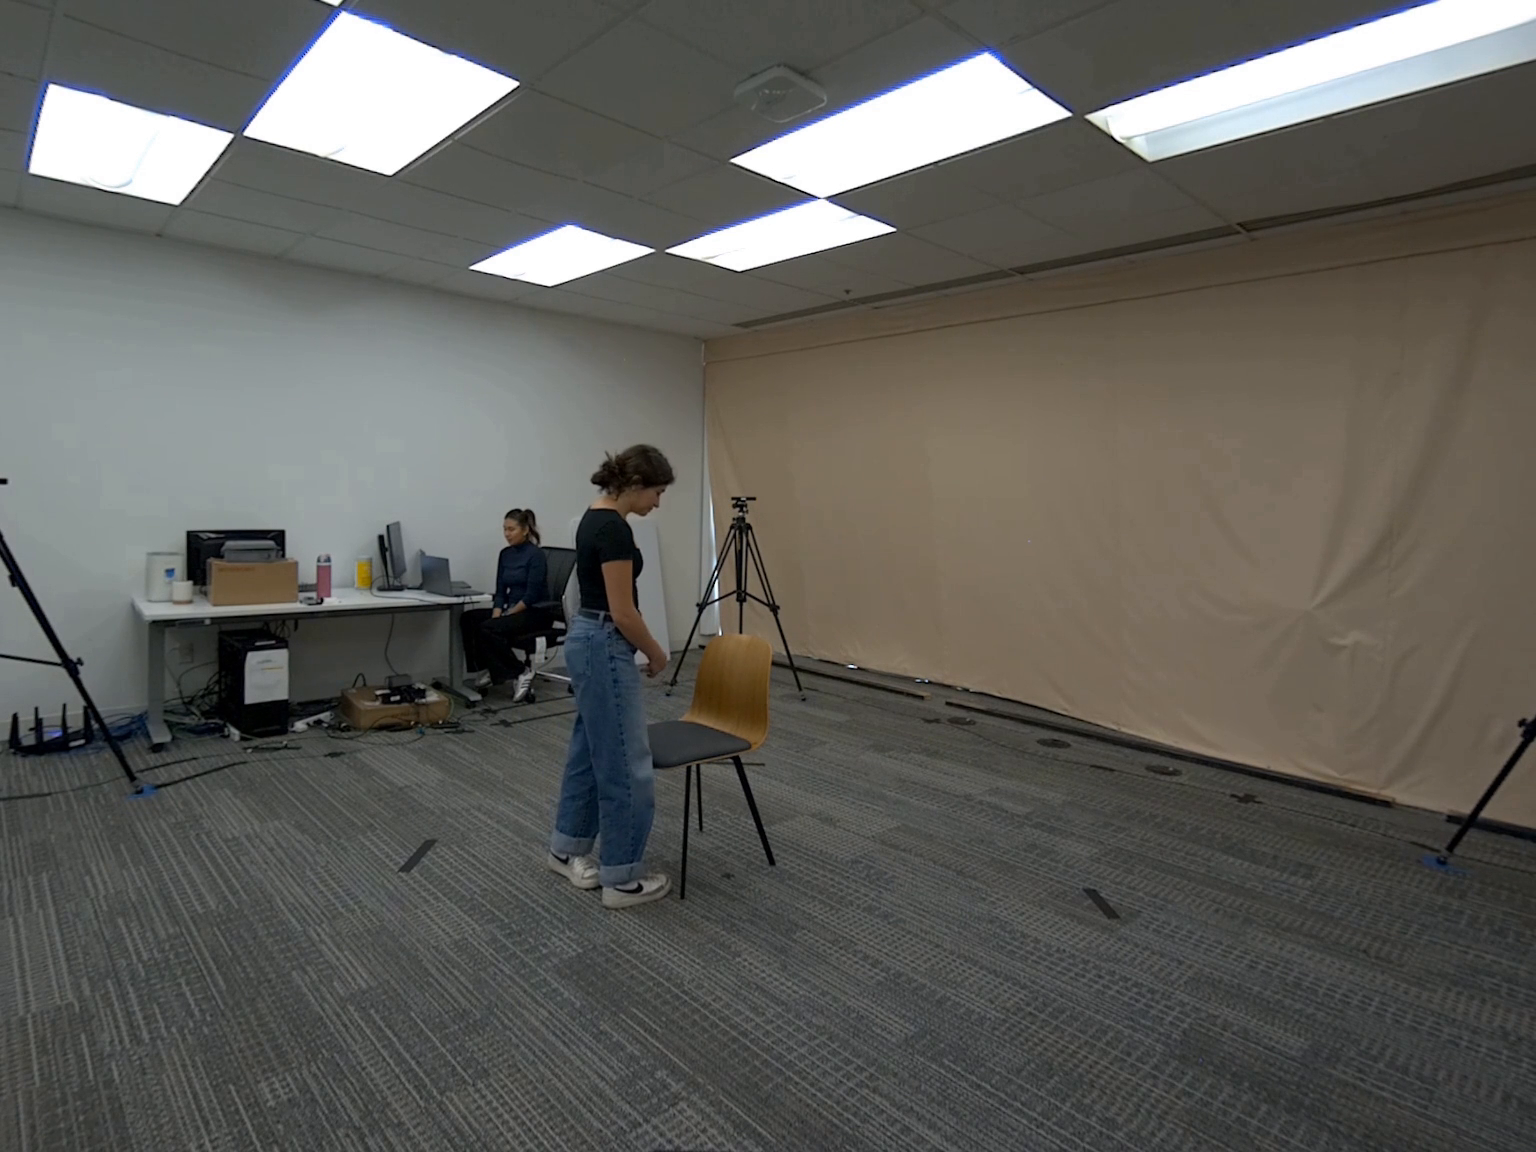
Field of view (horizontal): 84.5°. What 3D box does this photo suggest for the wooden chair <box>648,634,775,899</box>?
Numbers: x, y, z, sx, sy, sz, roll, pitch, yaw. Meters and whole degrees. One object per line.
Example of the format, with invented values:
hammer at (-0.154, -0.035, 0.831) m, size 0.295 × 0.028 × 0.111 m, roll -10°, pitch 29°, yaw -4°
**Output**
wooden chair at (-0.286, 0.672, 3.194) m, size 0.510 × 0.877 × 0.490 m, roll 4°, pitch 1°, yaw -43°
